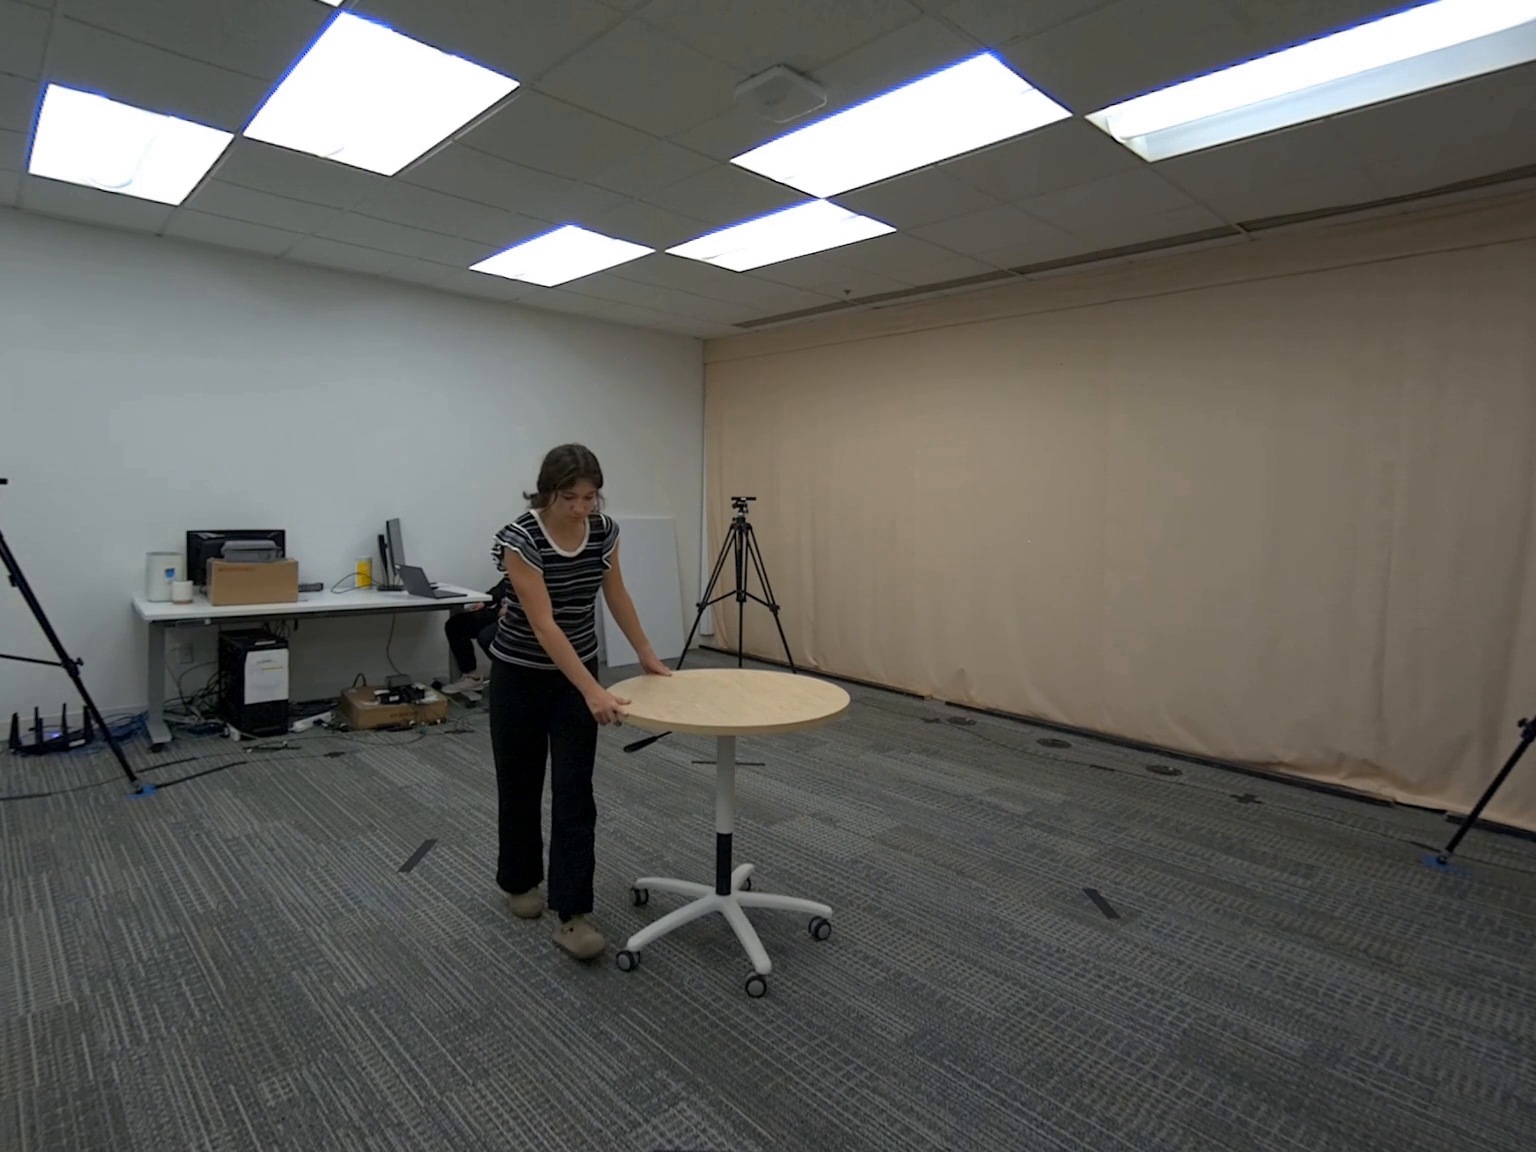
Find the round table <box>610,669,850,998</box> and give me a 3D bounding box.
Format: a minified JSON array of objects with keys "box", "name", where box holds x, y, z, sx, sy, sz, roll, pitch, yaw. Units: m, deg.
[{"box":[-0.141,0.761,2.658,0.763,0.792,0.767,1,4,-1],"name":"round table"}]
